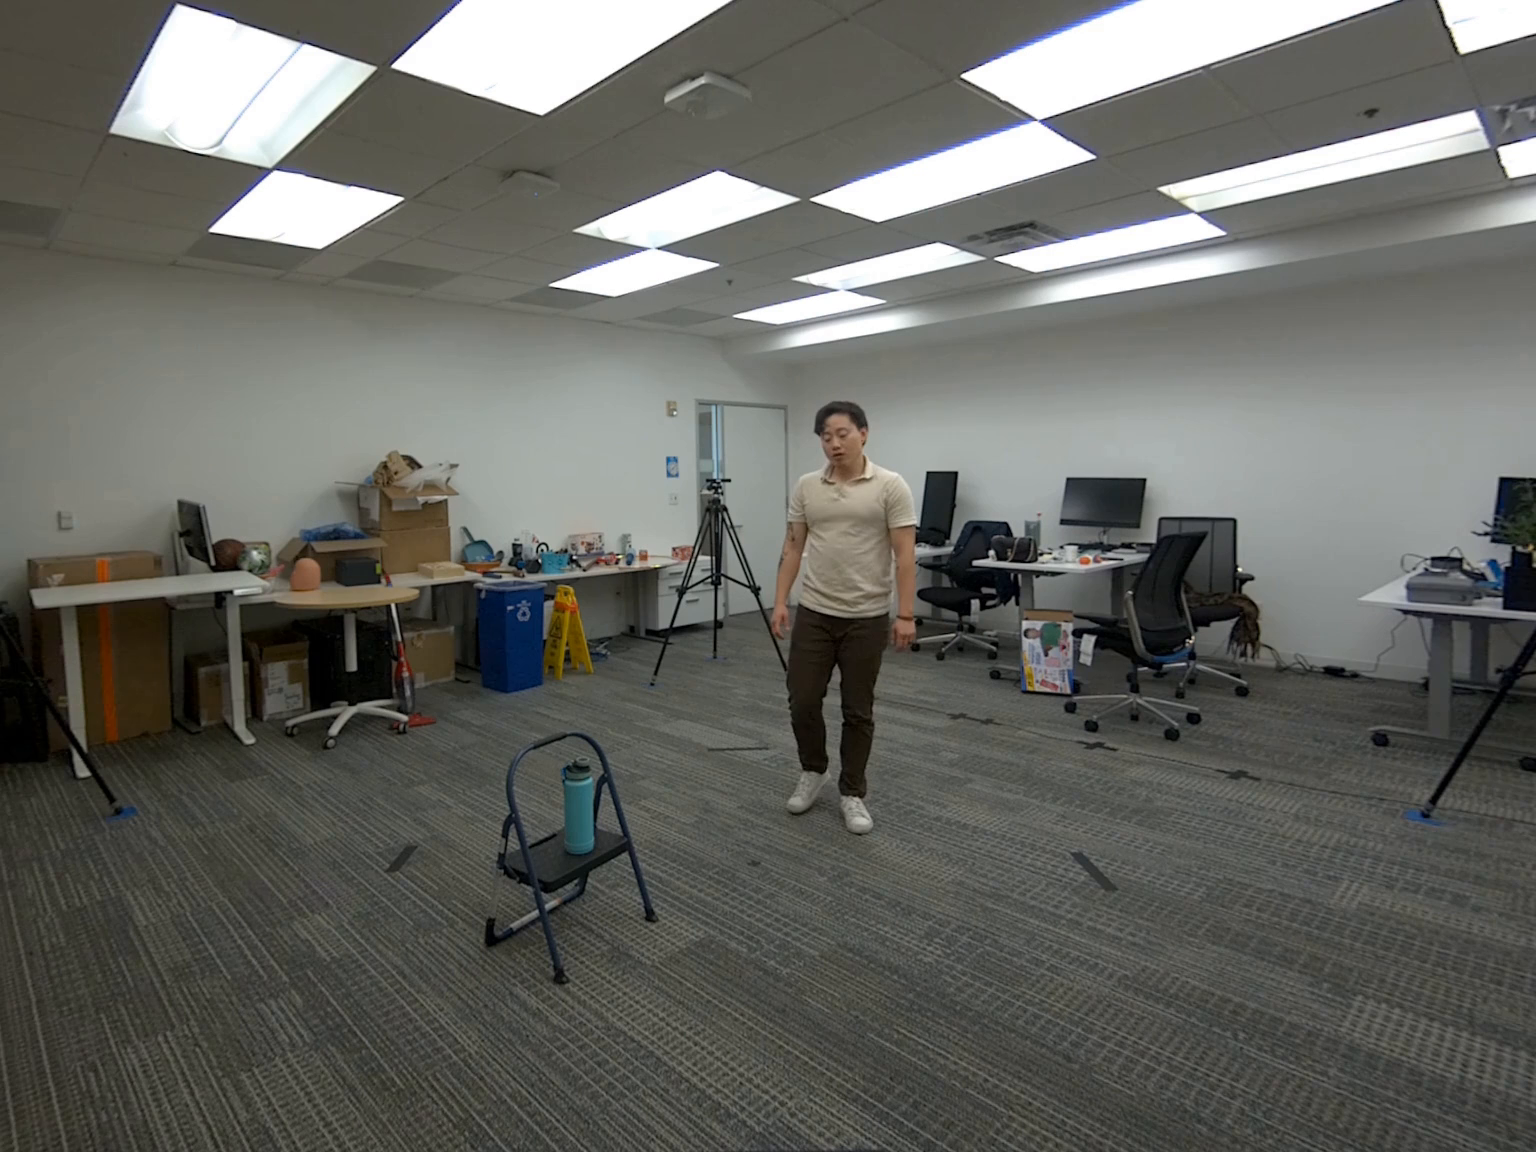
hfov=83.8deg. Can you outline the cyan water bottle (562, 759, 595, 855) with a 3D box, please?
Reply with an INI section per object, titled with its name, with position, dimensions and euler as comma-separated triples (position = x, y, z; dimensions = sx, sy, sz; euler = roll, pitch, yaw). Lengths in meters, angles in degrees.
[cyan water bottle]
position = -0.588, 0.707, 2.644
dimensions = 0.092, 0.282, 0.093
euler = -3, 5, -1
